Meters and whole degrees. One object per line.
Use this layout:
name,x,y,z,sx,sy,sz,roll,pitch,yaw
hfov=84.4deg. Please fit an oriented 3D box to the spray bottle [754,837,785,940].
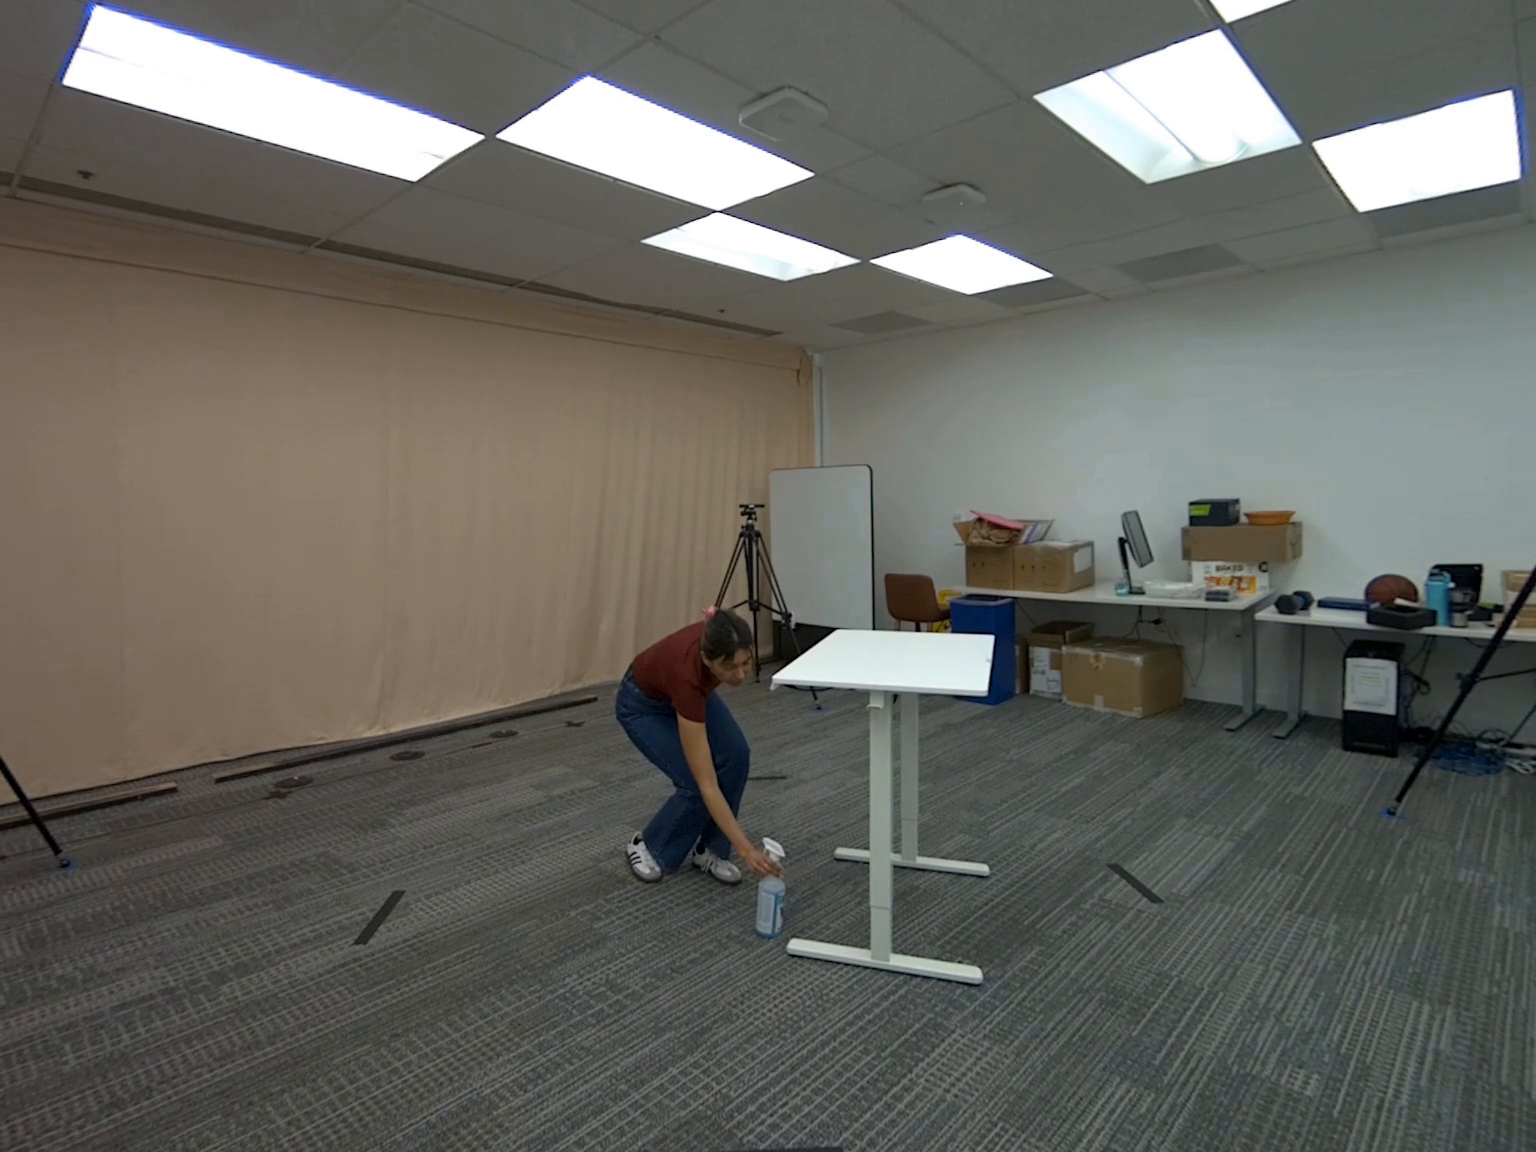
spray bottle,0.012,1.010,2.736,0.085,0.297,0.092,3,3,-18
